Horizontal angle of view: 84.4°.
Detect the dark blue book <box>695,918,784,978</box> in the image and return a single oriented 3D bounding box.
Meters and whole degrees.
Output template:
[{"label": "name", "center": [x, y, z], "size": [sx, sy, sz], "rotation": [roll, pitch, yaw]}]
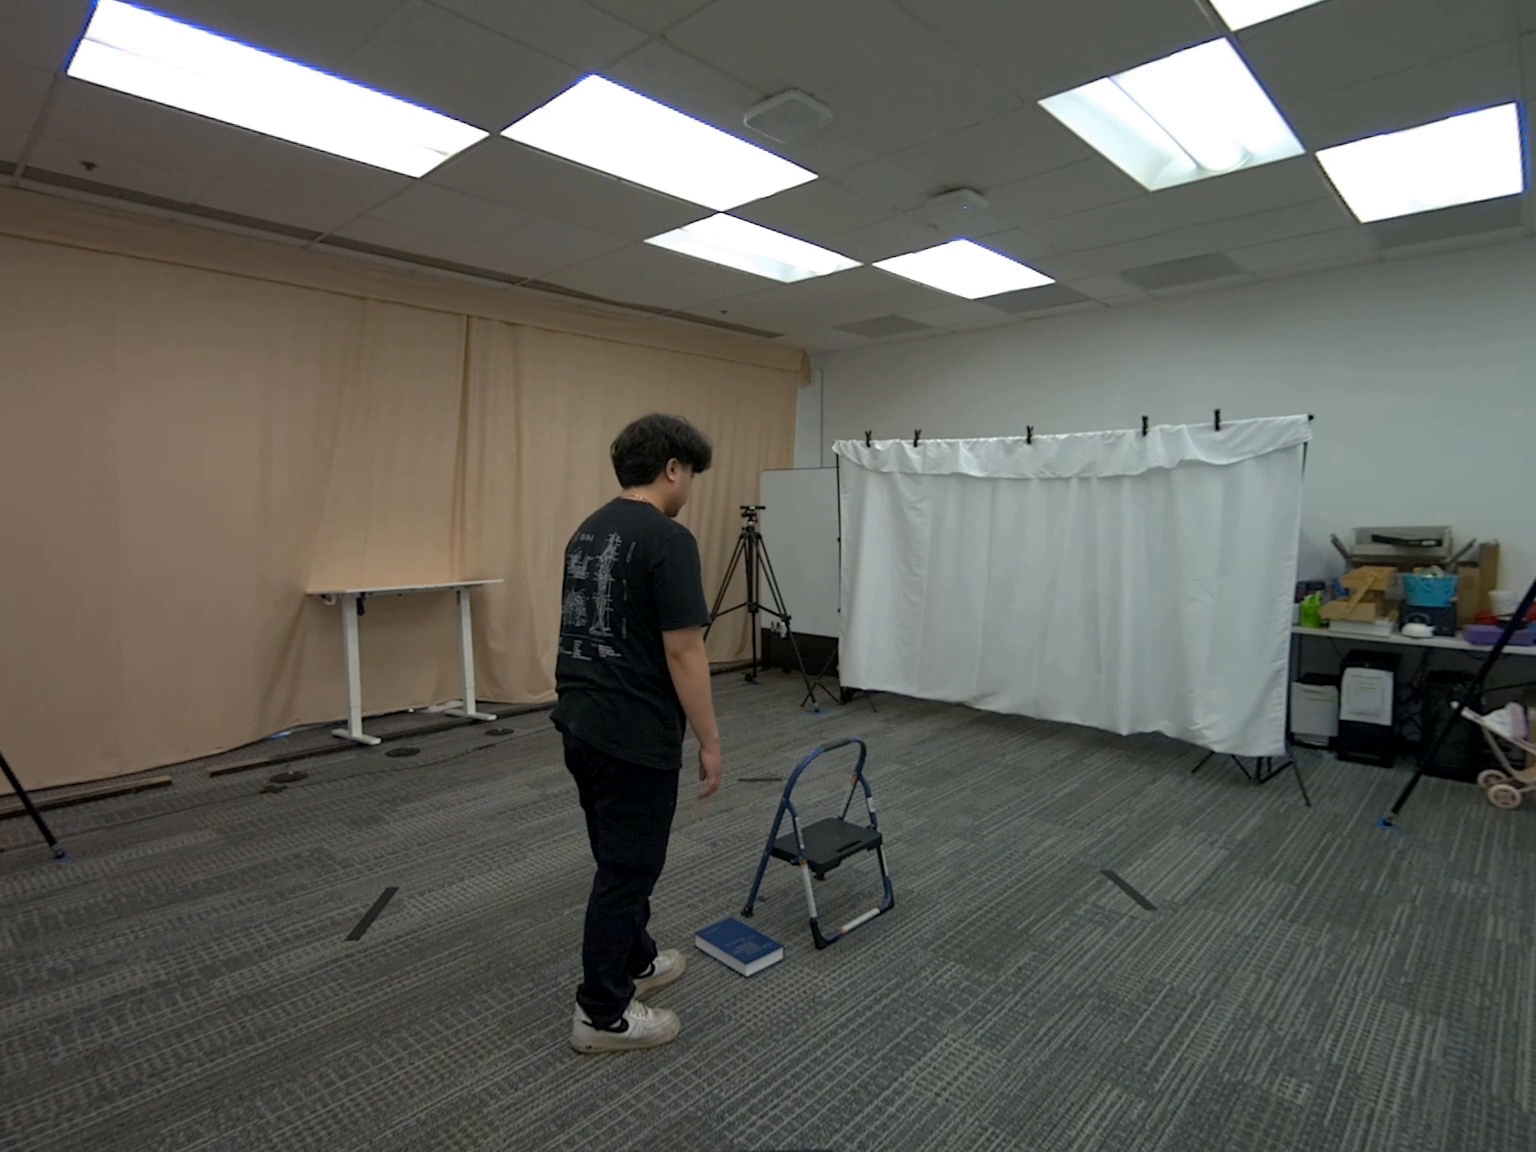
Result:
[{"label": "dark blue book", "center": [-0.089, 1.155, 2.616], "size": [0.158, 0.045, 0.253], "rotation": [-4, 6, -43]}]
